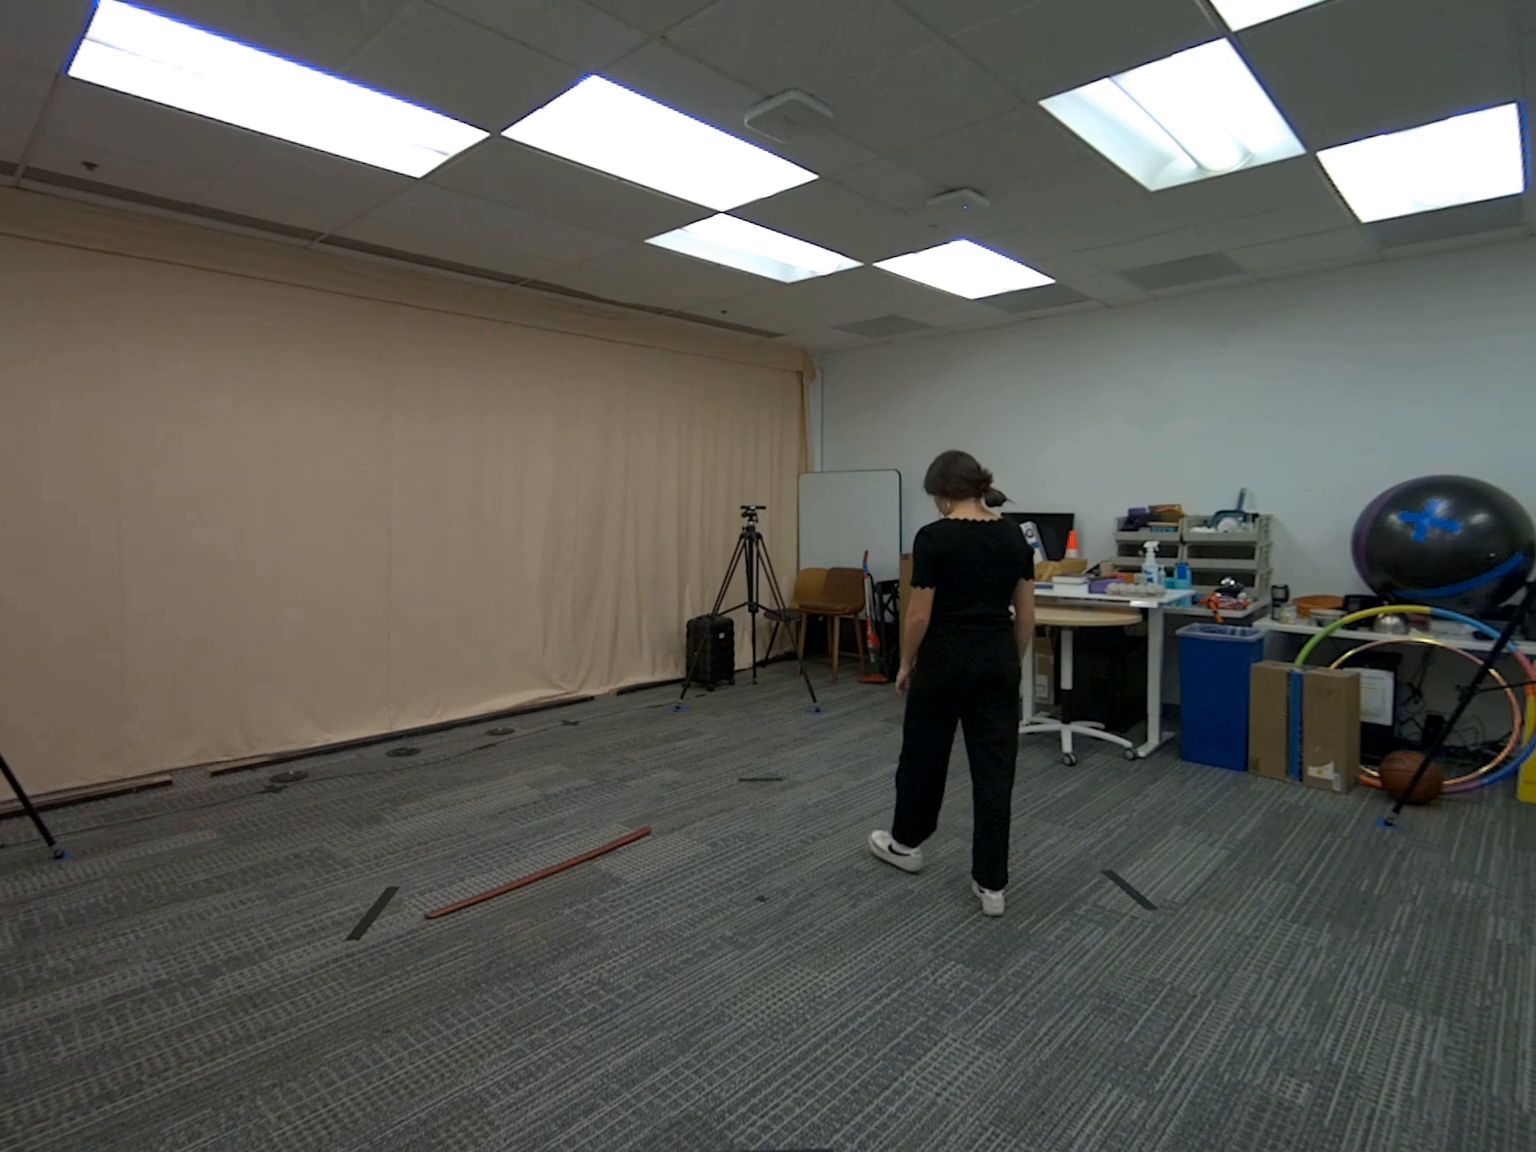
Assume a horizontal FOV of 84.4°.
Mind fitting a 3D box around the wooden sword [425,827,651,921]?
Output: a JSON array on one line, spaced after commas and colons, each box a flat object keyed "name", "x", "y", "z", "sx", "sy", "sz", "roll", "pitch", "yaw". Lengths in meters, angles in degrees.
[{"name": "wooden sword", "x": -0.820, "y": 1.114, "z": 3.207, "sx": 0.053, "sy": 0.024, "sz": 0.994, "roll": 17, "pitch": 15, "yaw": 39}]
